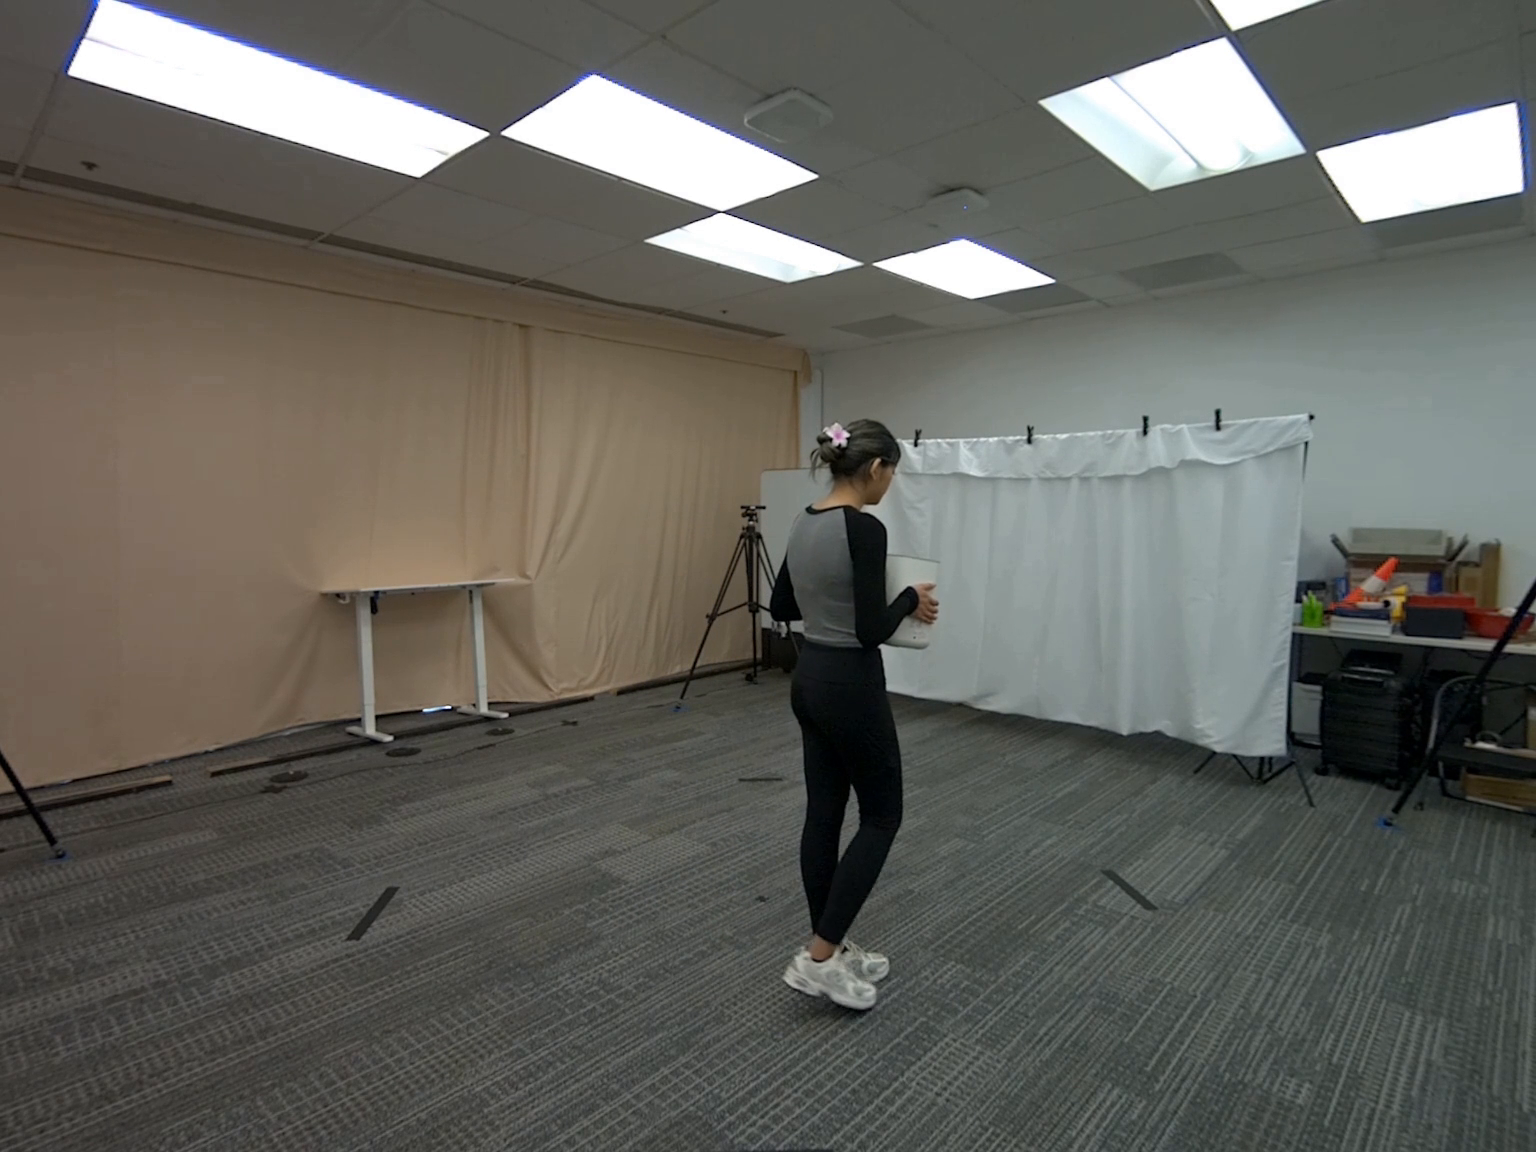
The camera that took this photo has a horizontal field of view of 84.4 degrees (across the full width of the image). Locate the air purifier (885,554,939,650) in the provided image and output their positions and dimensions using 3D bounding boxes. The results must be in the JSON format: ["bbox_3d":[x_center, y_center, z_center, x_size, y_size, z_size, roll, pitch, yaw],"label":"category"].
[{"bbox_3d":[0.403,0.076,2.490,0.167,0.265,0.176,7,-1,-24],"label":"air purifier"}]
